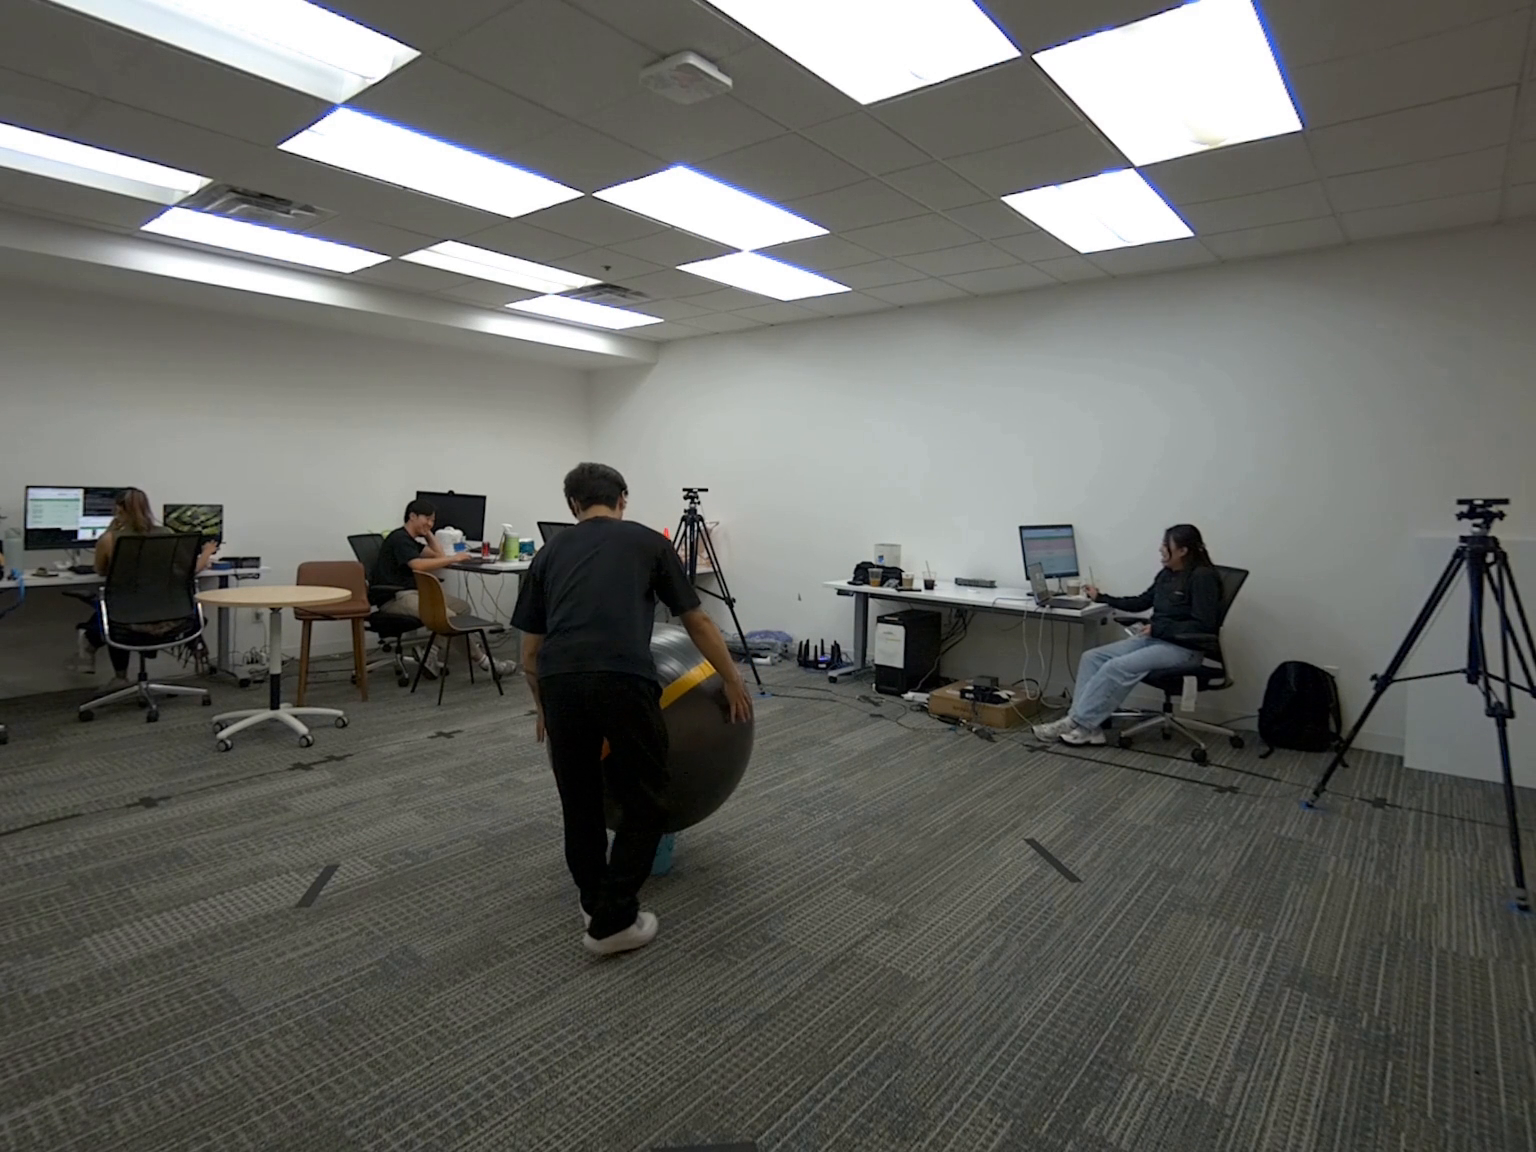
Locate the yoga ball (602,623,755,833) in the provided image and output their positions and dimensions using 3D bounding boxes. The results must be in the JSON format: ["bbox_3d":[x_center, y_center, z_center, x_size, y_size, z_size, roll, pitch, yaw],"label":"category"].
[{"bbox_3d":[-0.437,0.553,3.117,0.757,0.756,0.761,1,4,-2],"label":"yoga ball"}]
